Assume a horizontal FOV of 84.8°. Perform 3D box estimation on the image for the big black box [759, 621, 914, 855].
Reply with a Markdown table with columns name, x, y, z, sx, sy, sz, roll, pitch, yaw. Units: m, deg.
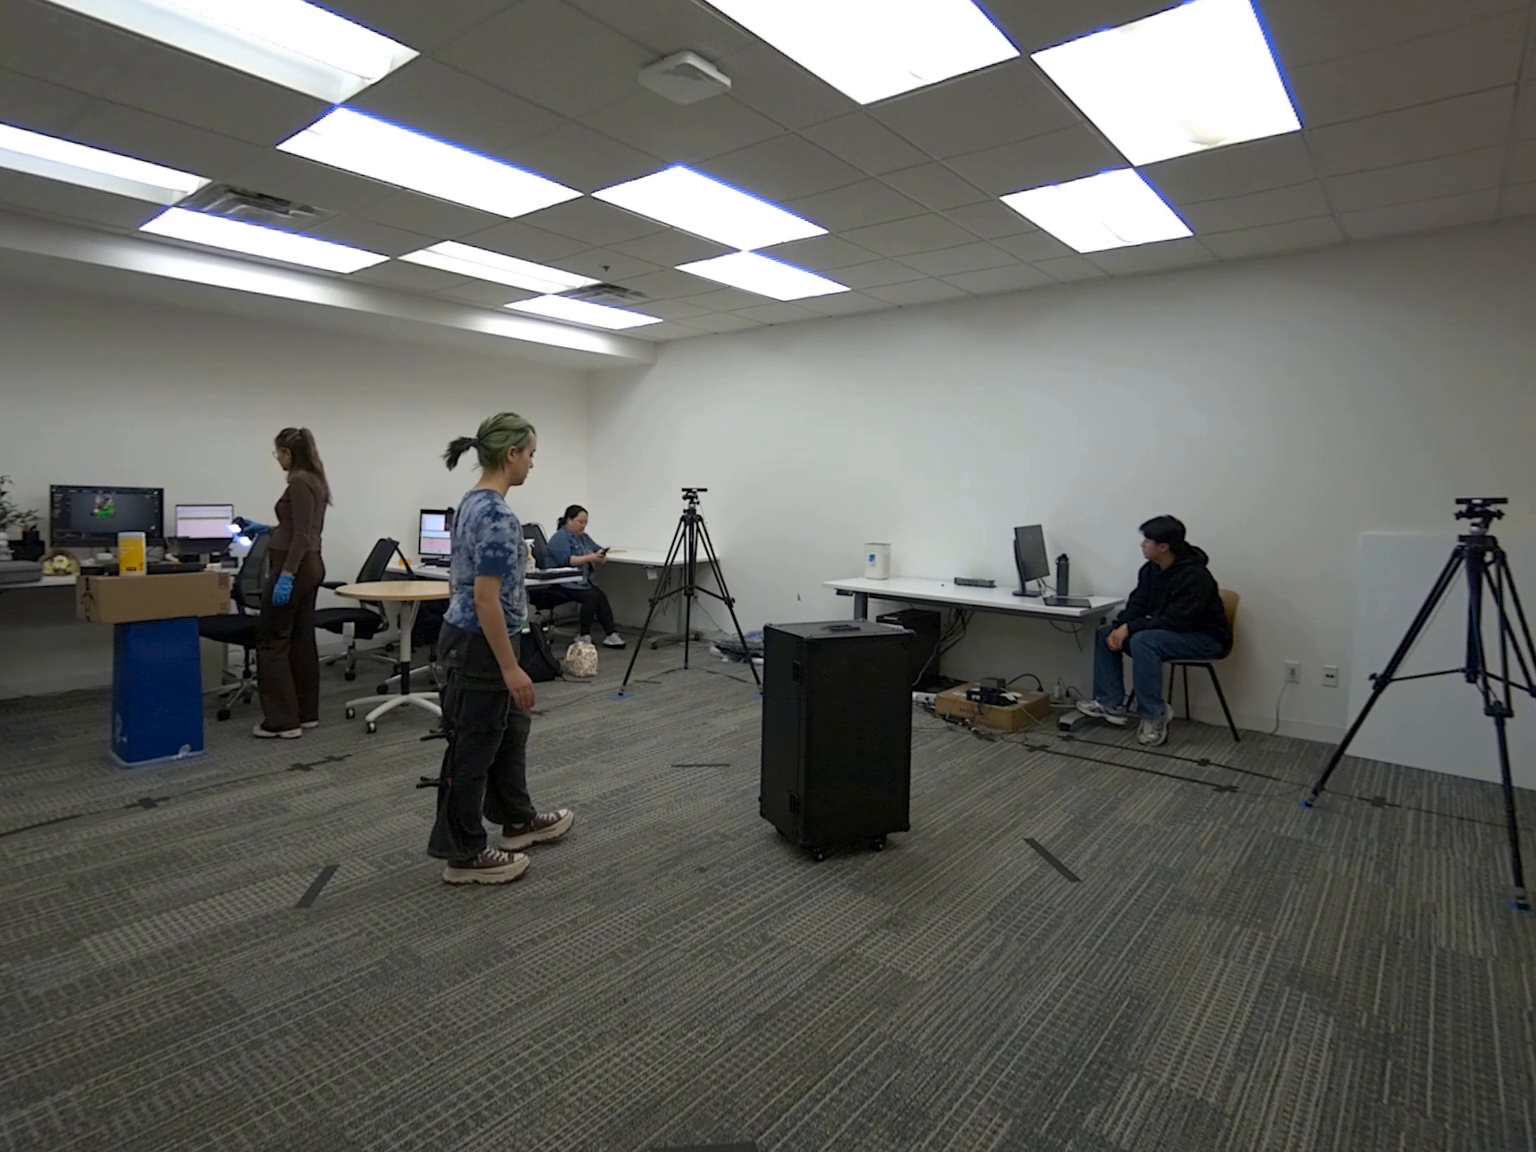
| name | x | y | z | sx | sy | sz | roll | pitch | yaw |
| --- | --- | --- | --- | --- | --- | --- | --- | --- | --- |
| big black box | 0.248 | 0.630 | 3.382 | 0.509 | 0.860 | 0.407 | 0 | 2 | -25 |
